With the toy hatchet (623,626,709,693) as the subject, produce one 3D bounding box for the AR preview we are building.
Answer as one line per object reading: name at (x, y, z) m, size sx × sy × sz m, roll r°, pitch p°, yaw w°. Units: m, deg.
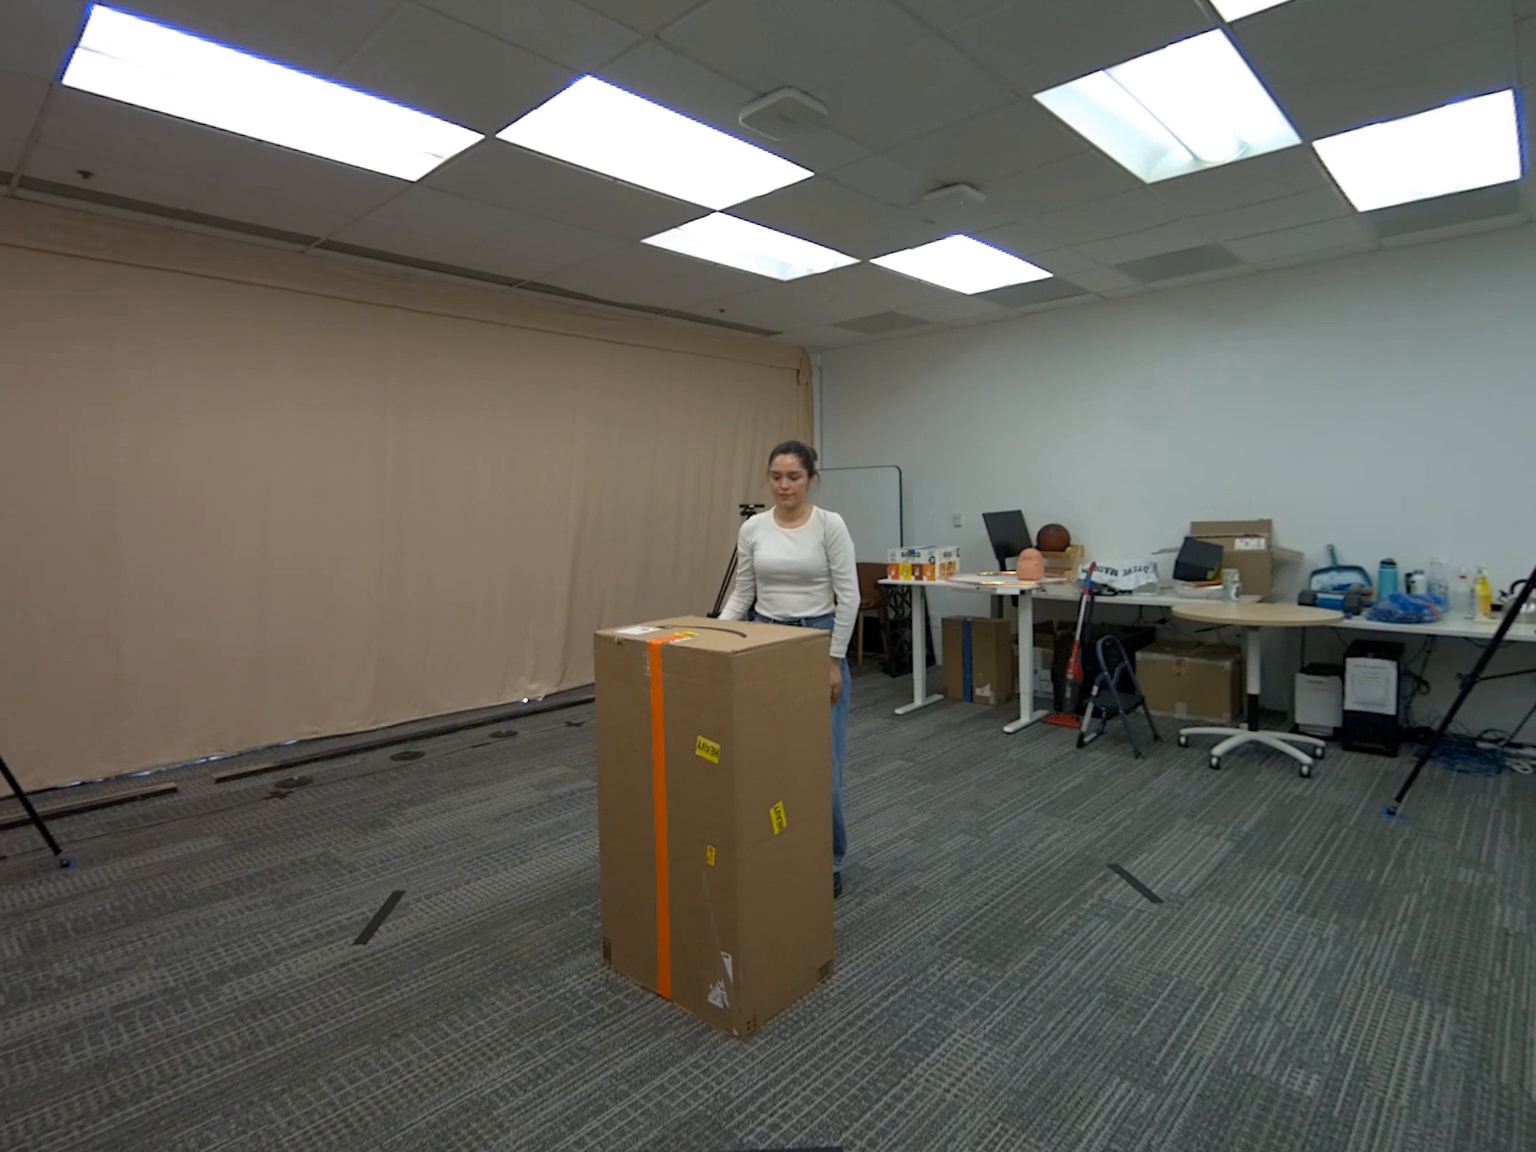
toy hatchet at (-0.362, 0.292, 2.999) m, size 0.265 × 0.134 × 0.029 m, roll -25°, pitch -22°, yaw -26°
